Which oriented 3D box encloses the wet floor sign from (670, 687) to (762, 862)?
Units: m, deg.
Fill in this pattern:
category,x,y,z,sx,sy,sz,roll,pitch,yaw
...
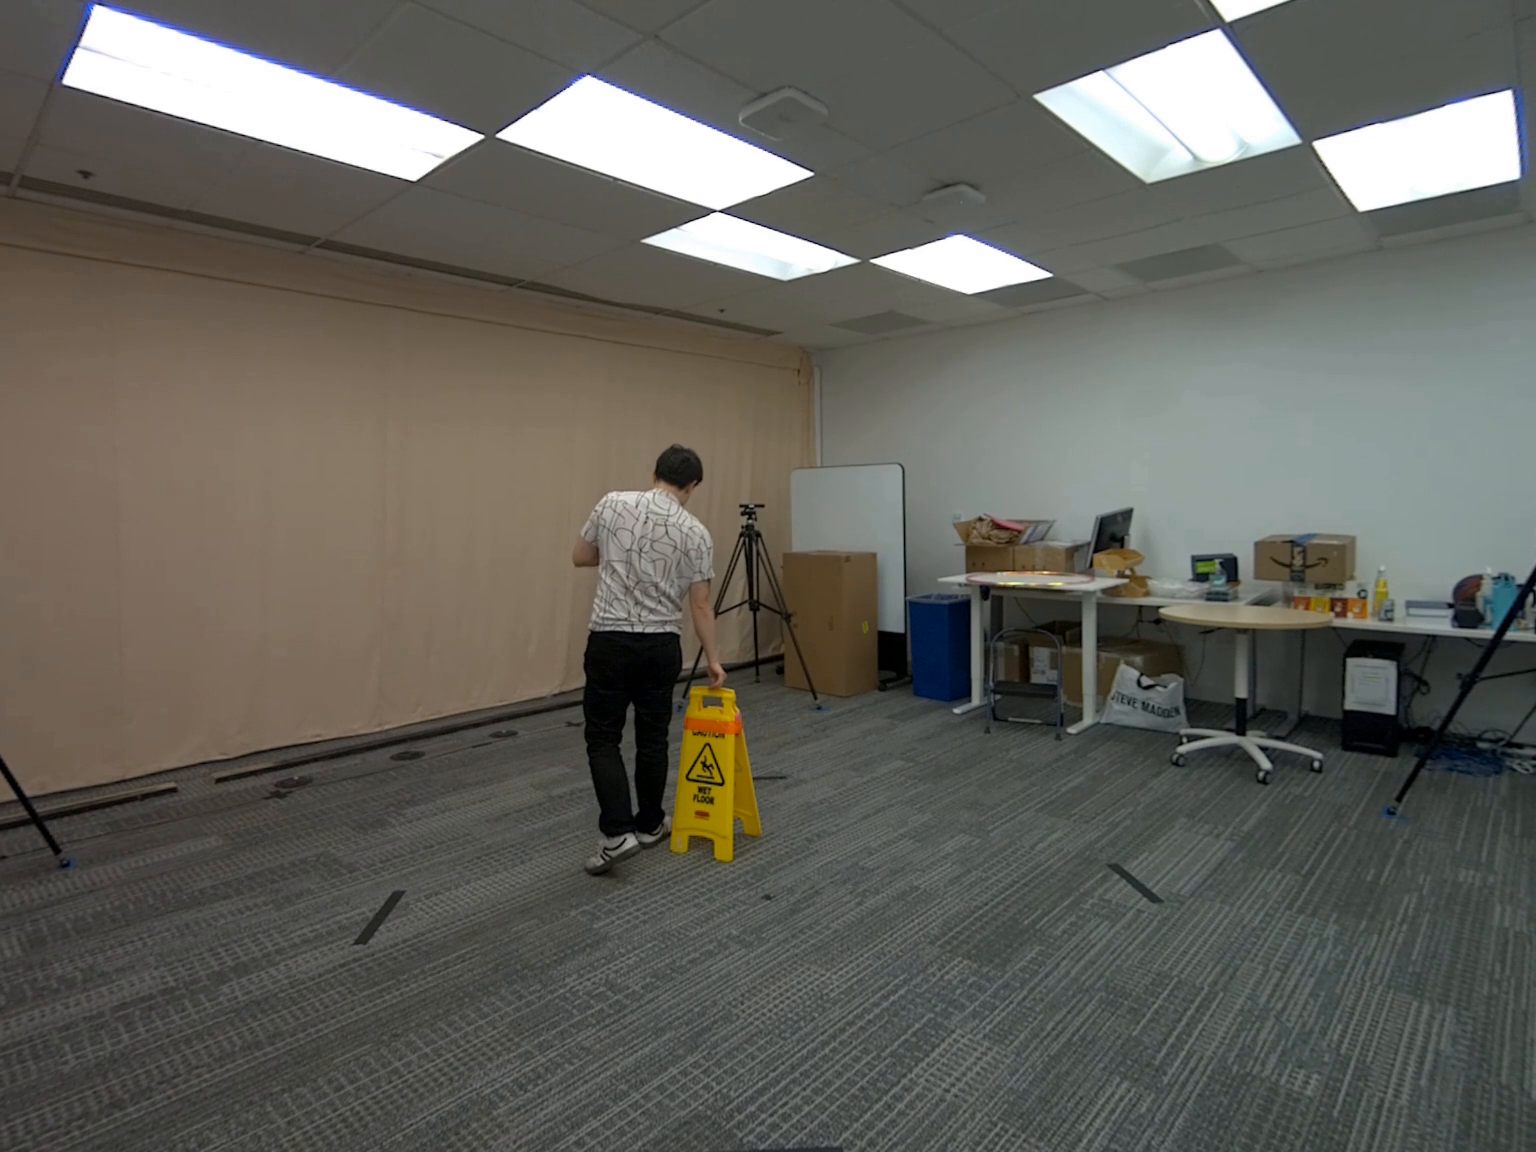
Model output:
category,x,y,z,sx,sy,sz,roll,pitch,yaw
wet floor sign,-0.217,0.781,3.453,0.289,0.644,0.283,0,4,26
